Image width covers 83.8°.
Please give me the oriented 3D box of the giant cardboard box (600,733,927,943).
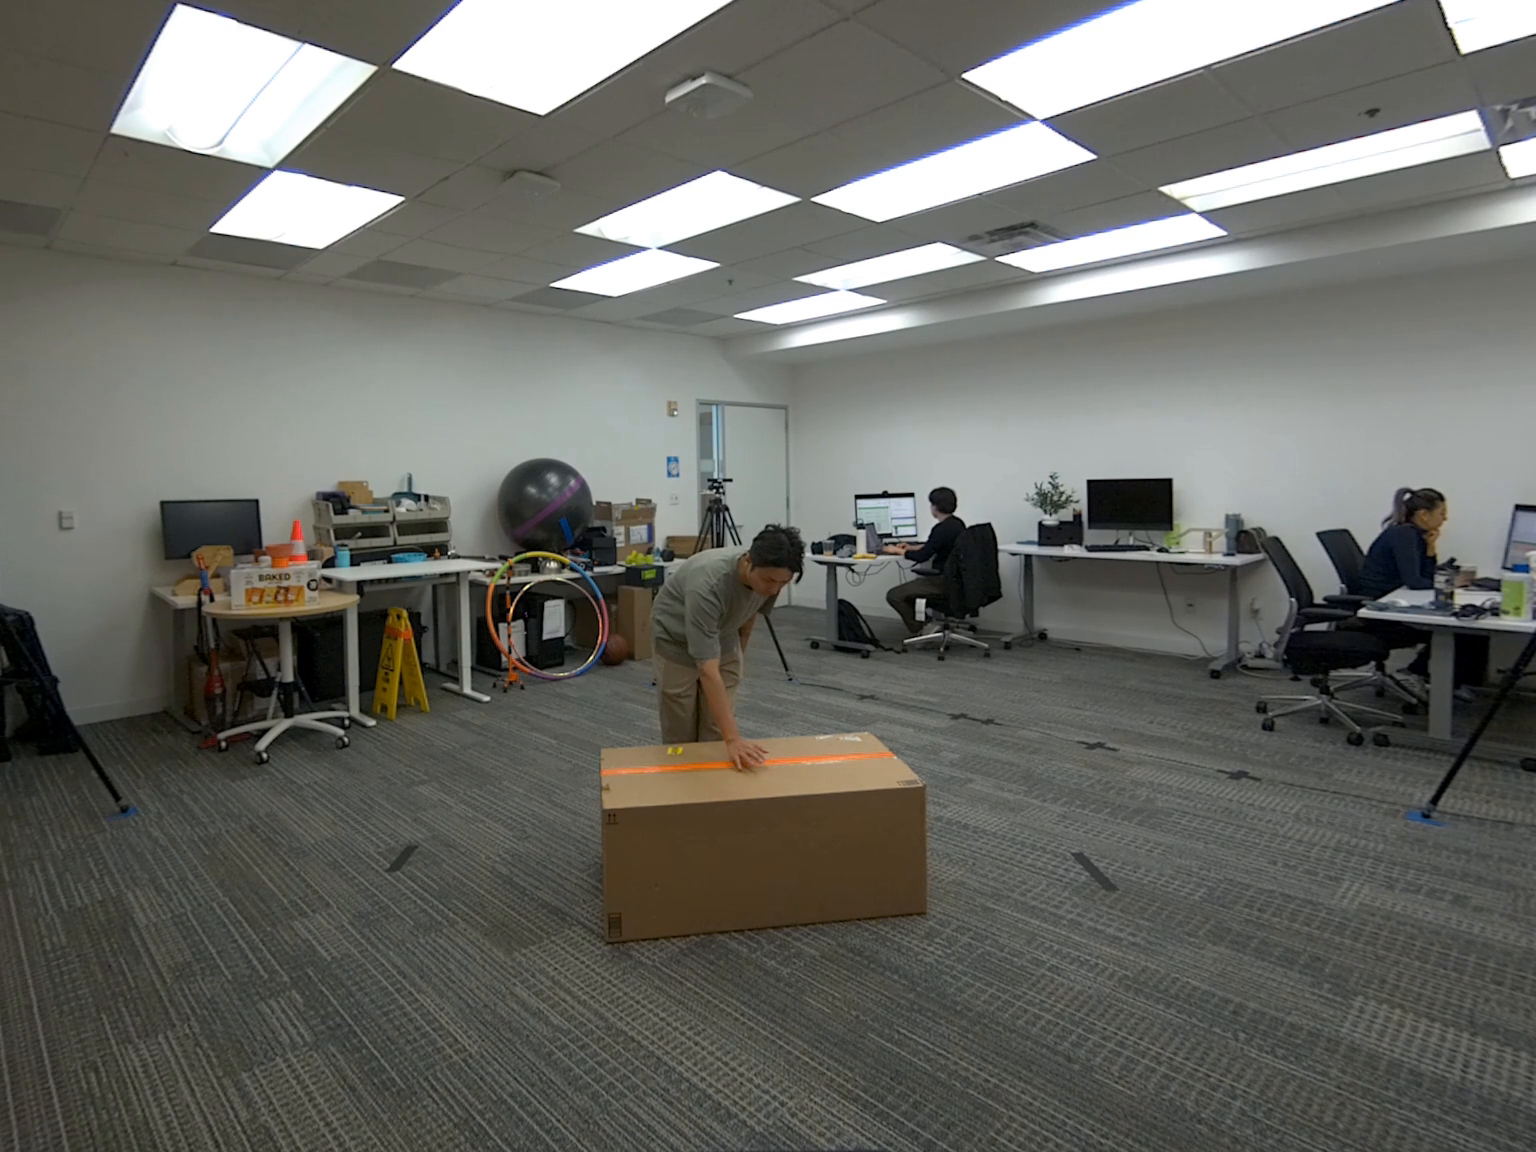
[{"bbox_3d":[-0.051,0.846,2.915,1.017,0.424,0.585,-2,5,-9],"label":"giant cardboard box"}]
